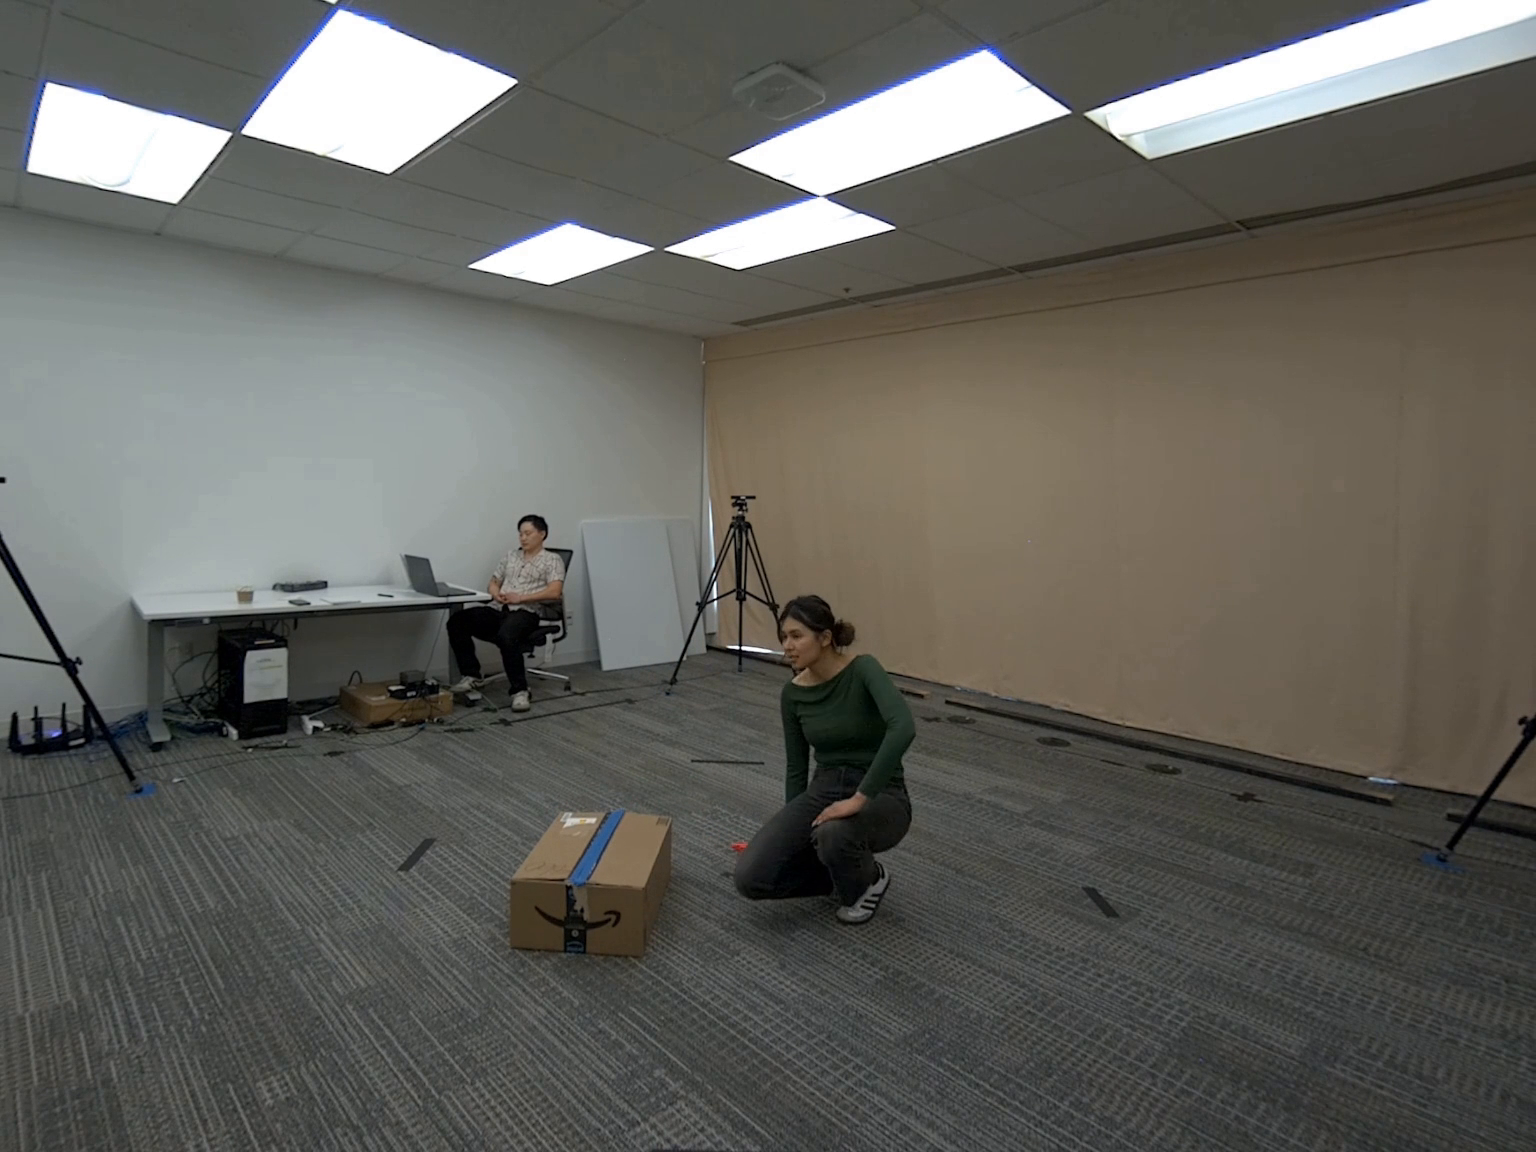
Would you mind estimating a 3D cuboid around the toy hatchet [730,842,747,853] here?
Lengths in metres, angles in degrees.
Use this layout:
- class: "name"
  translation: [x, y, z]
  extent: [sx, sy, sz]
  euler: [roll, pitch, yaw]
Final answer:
- class: "toy hatchet"
  translation: [-0.067, 1.085, 3.198]
  extent: [0.130, 0.029, 0.273]
  euler: [4, 8, -11]
